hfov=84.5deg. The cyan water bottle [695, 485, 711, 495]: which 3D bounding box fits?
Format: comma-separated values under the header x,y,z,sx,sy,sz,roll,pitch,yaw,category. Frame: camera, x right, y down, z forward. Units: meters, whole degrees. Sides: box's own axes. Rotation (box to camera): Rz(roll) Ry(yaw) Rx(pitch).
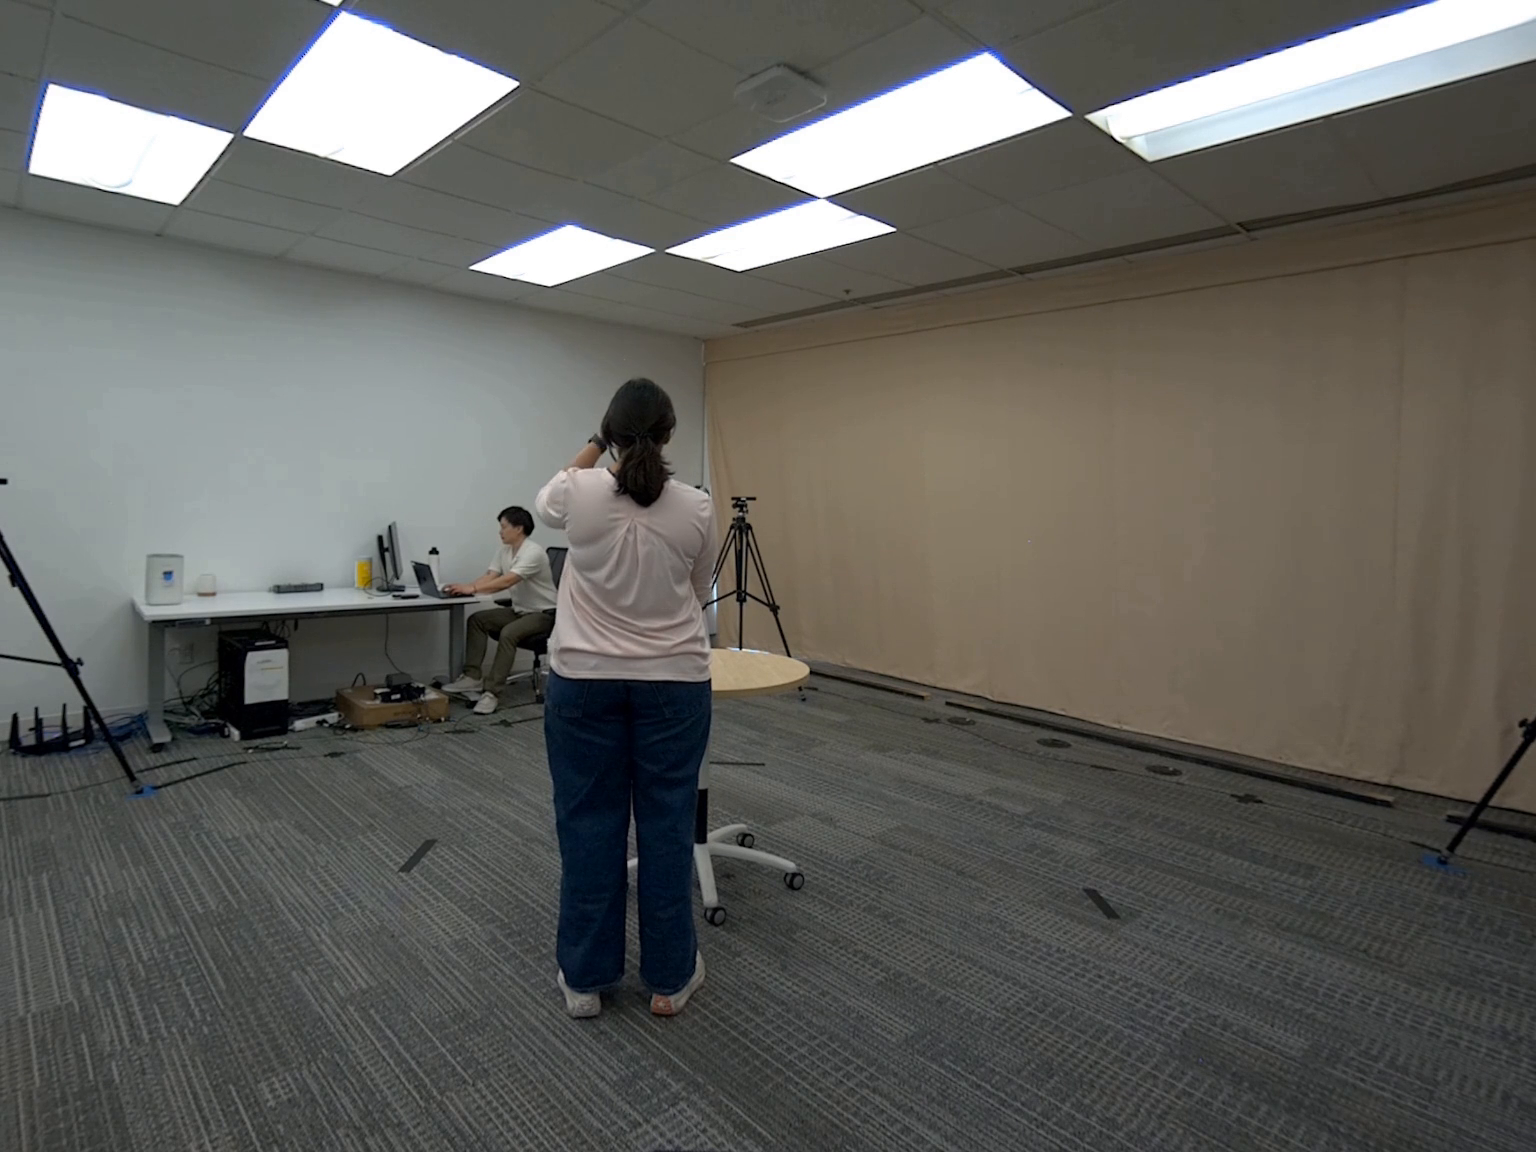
x,y,z,sx,sy,sz,roll,pitch,yaw,category
-0.314,-0.205,2.671,0.284,0.092,0.092,-32,0,8,cyan water bottle
